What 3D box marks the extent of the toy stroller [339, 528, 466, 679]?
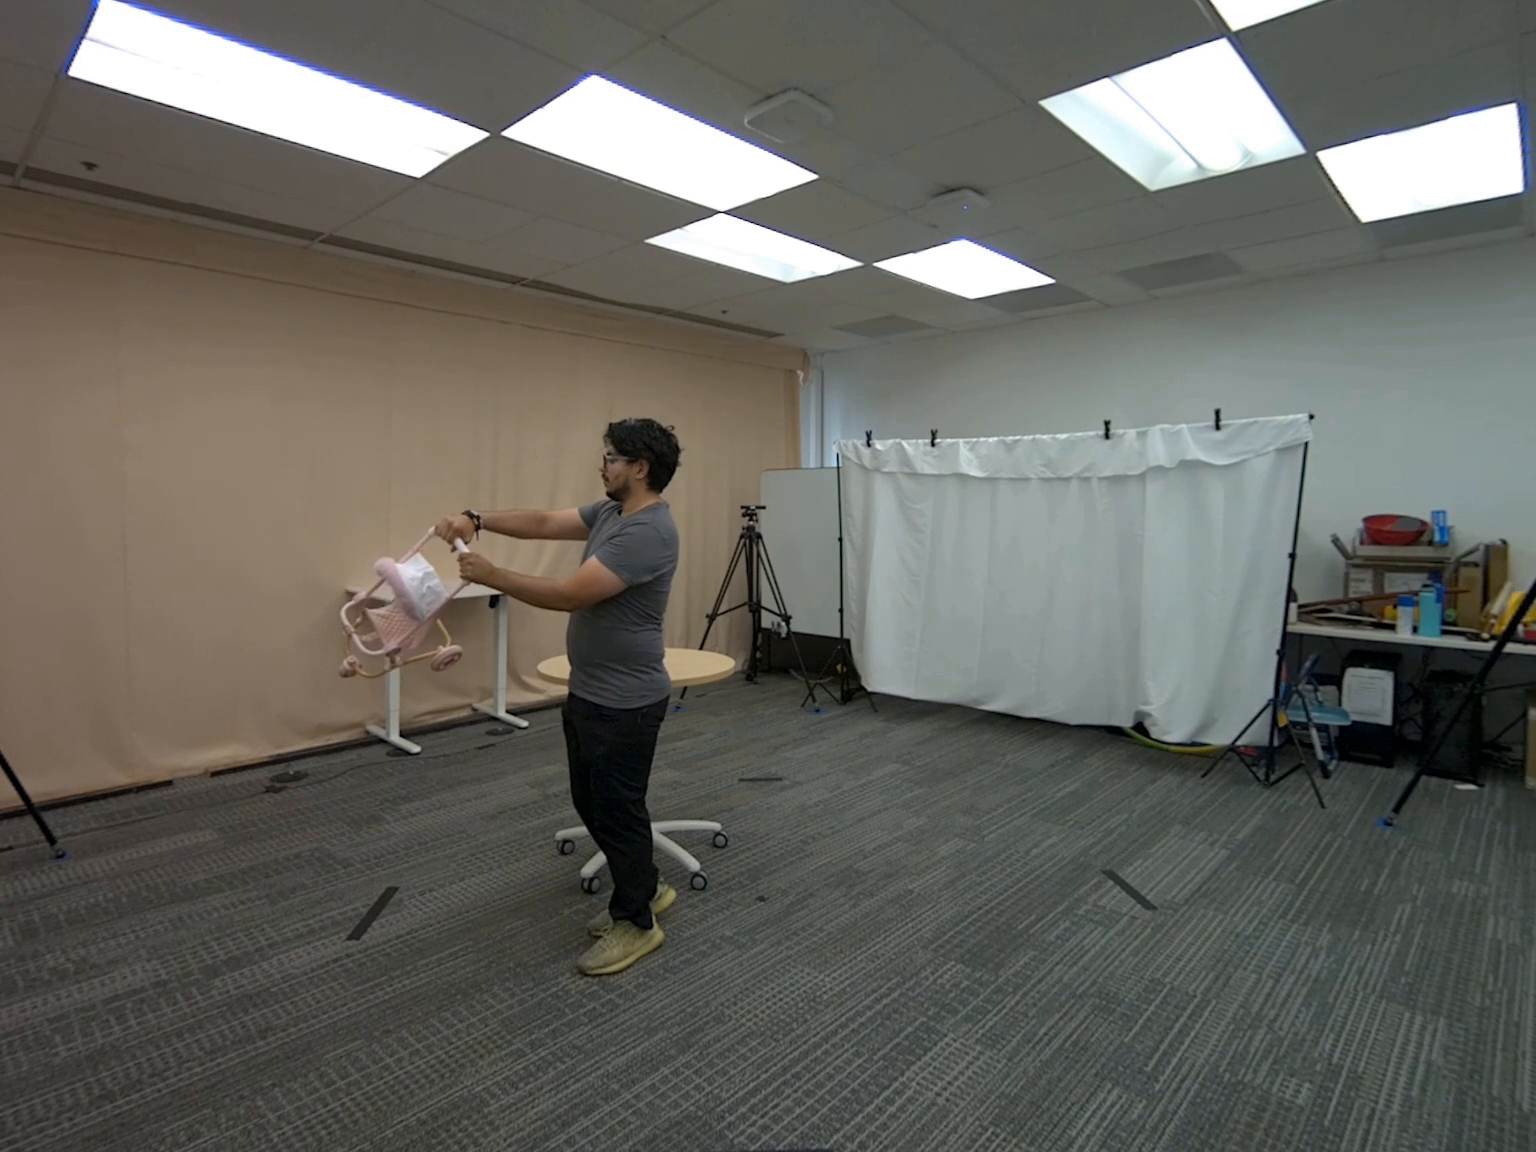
[{"bbox_3d":[-1.106,0.116,2.512,0.333,0.288,0.536,-19,-25,-39],"label":"toy stroller"}]
